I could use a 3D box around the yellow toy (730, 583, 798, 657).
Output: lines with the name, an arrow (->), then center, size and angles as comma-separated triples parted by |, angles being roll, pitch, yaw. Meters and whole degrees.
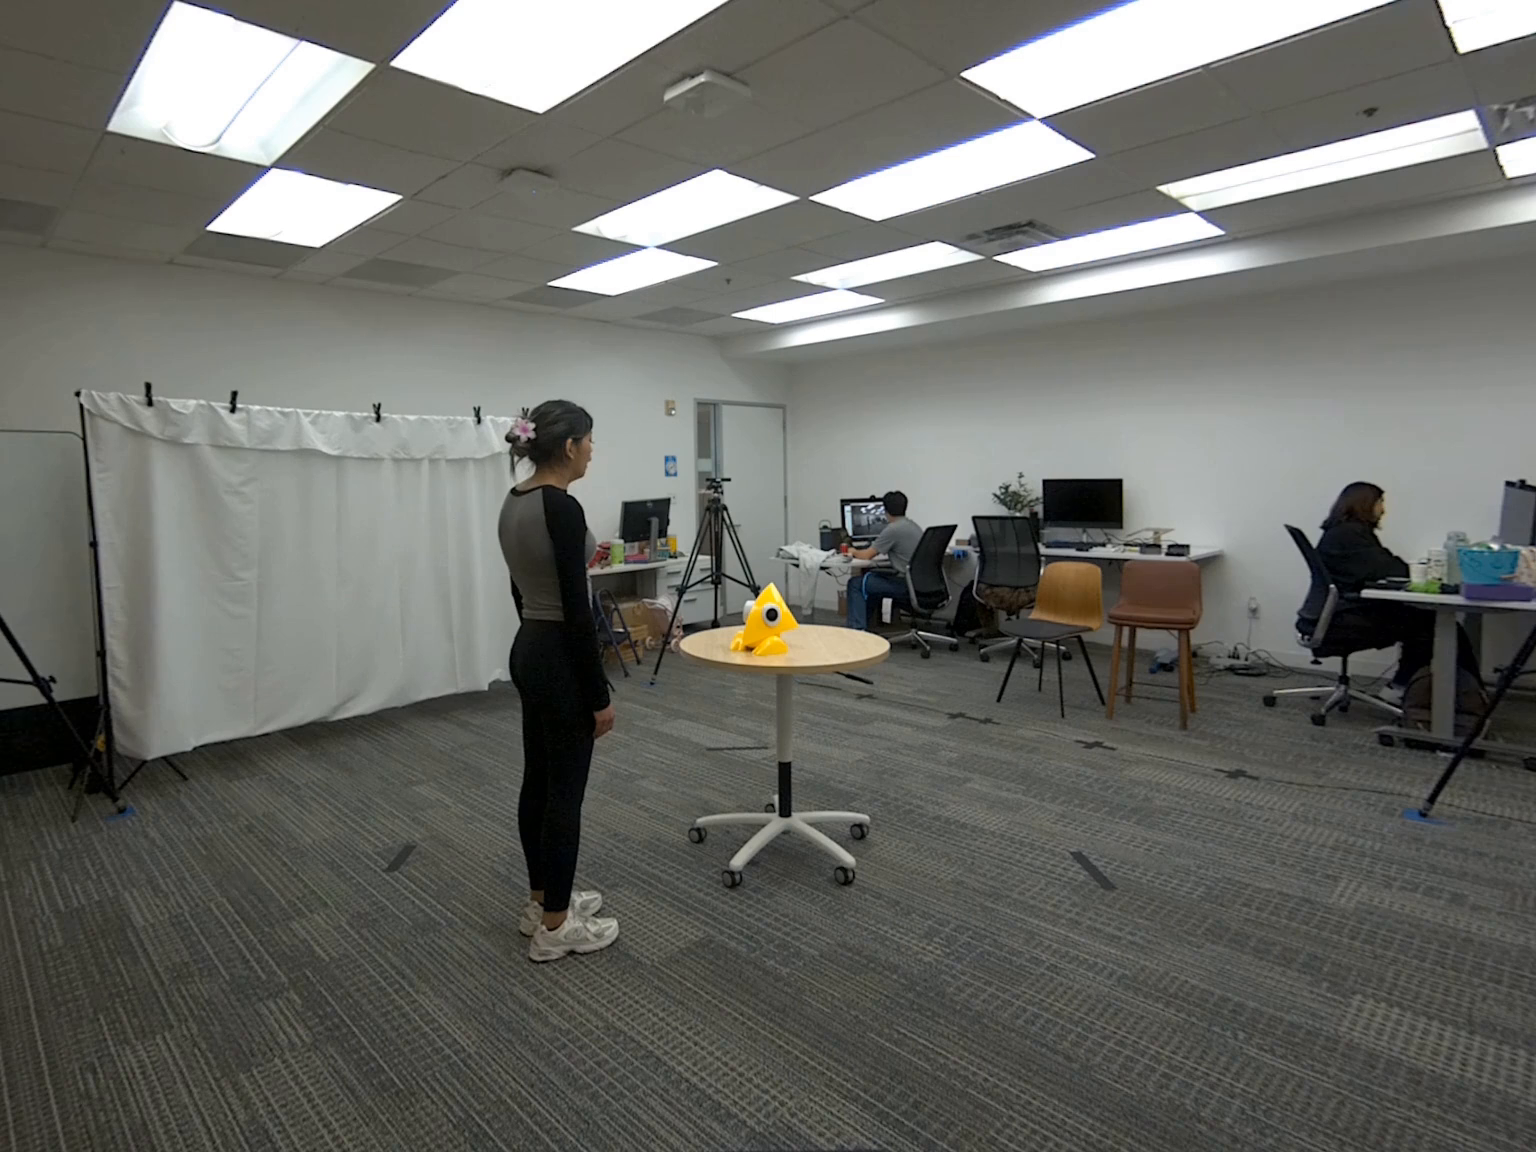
yellow toy -> -0.024, 0.144, 3.020 | 0.211, 0.230, 0.188 | 5, 7, 43
